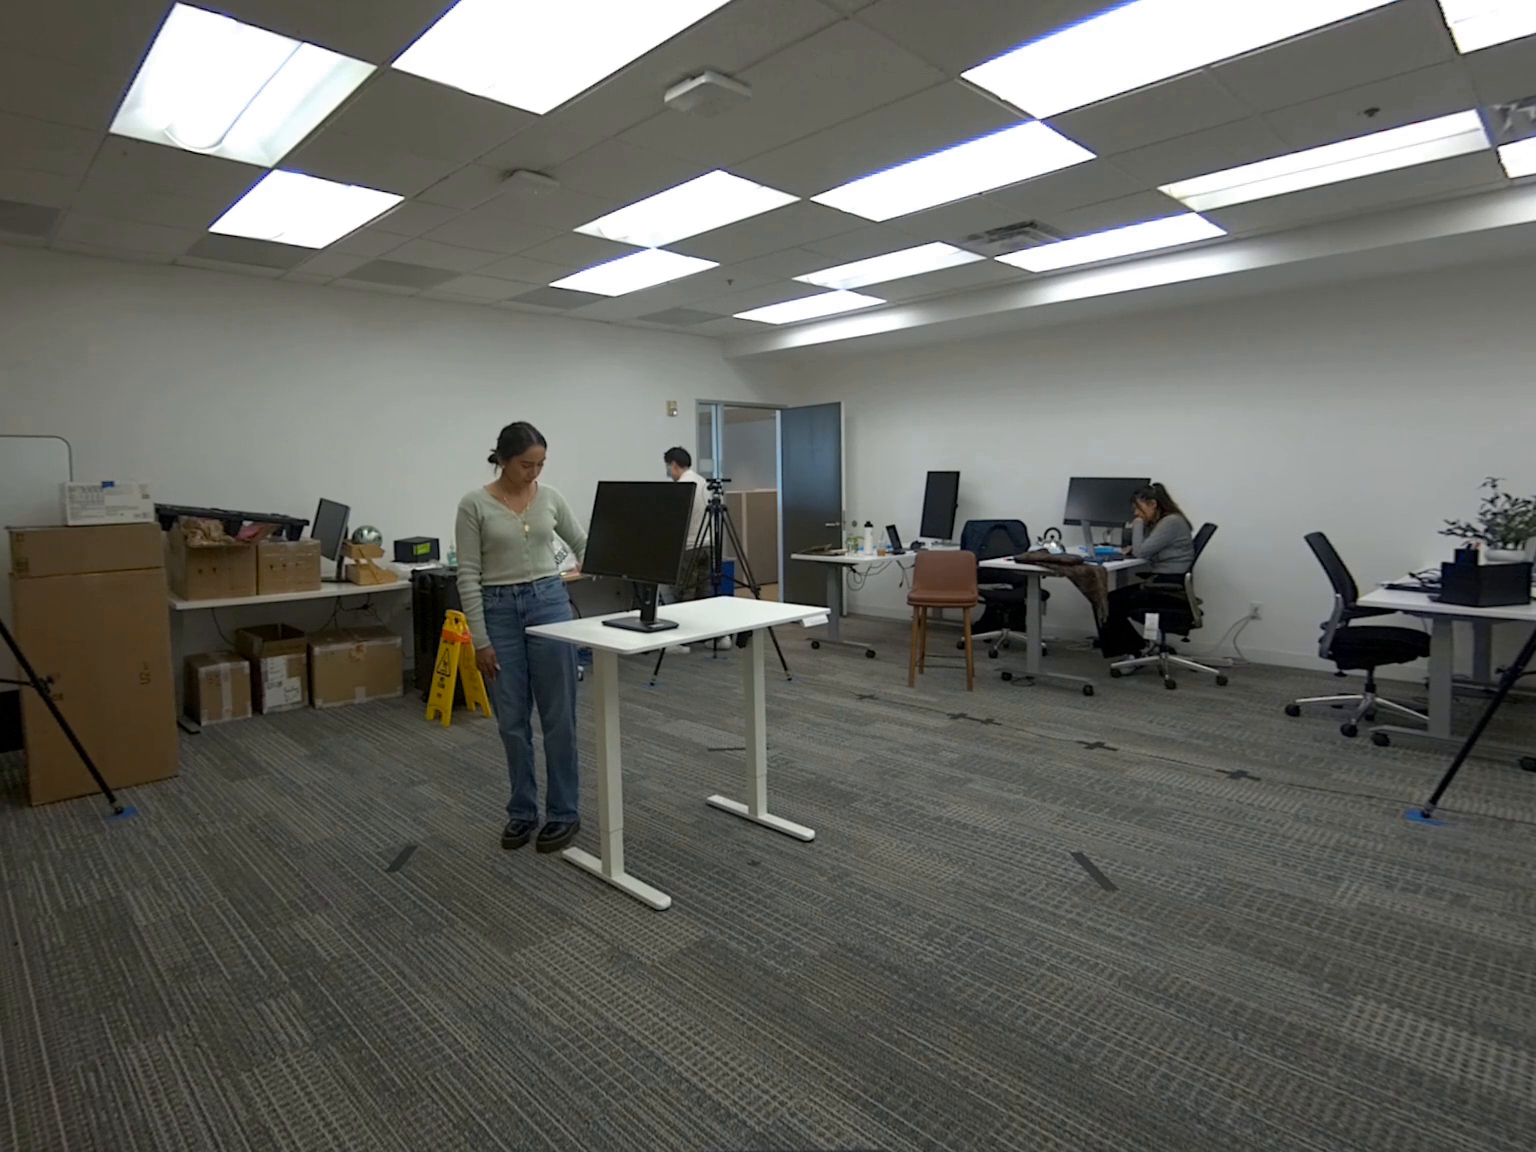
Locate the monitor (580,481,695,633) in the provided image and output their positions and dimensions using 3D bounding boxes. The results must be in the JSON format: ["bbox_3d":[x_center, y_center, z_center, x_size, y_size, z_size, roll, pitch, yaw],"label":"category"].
[{"bbox_3d":[-0.433,-0.072,3.036,0.182,0.521,0.556,-1,4,-45],"label":"monitor"}]
